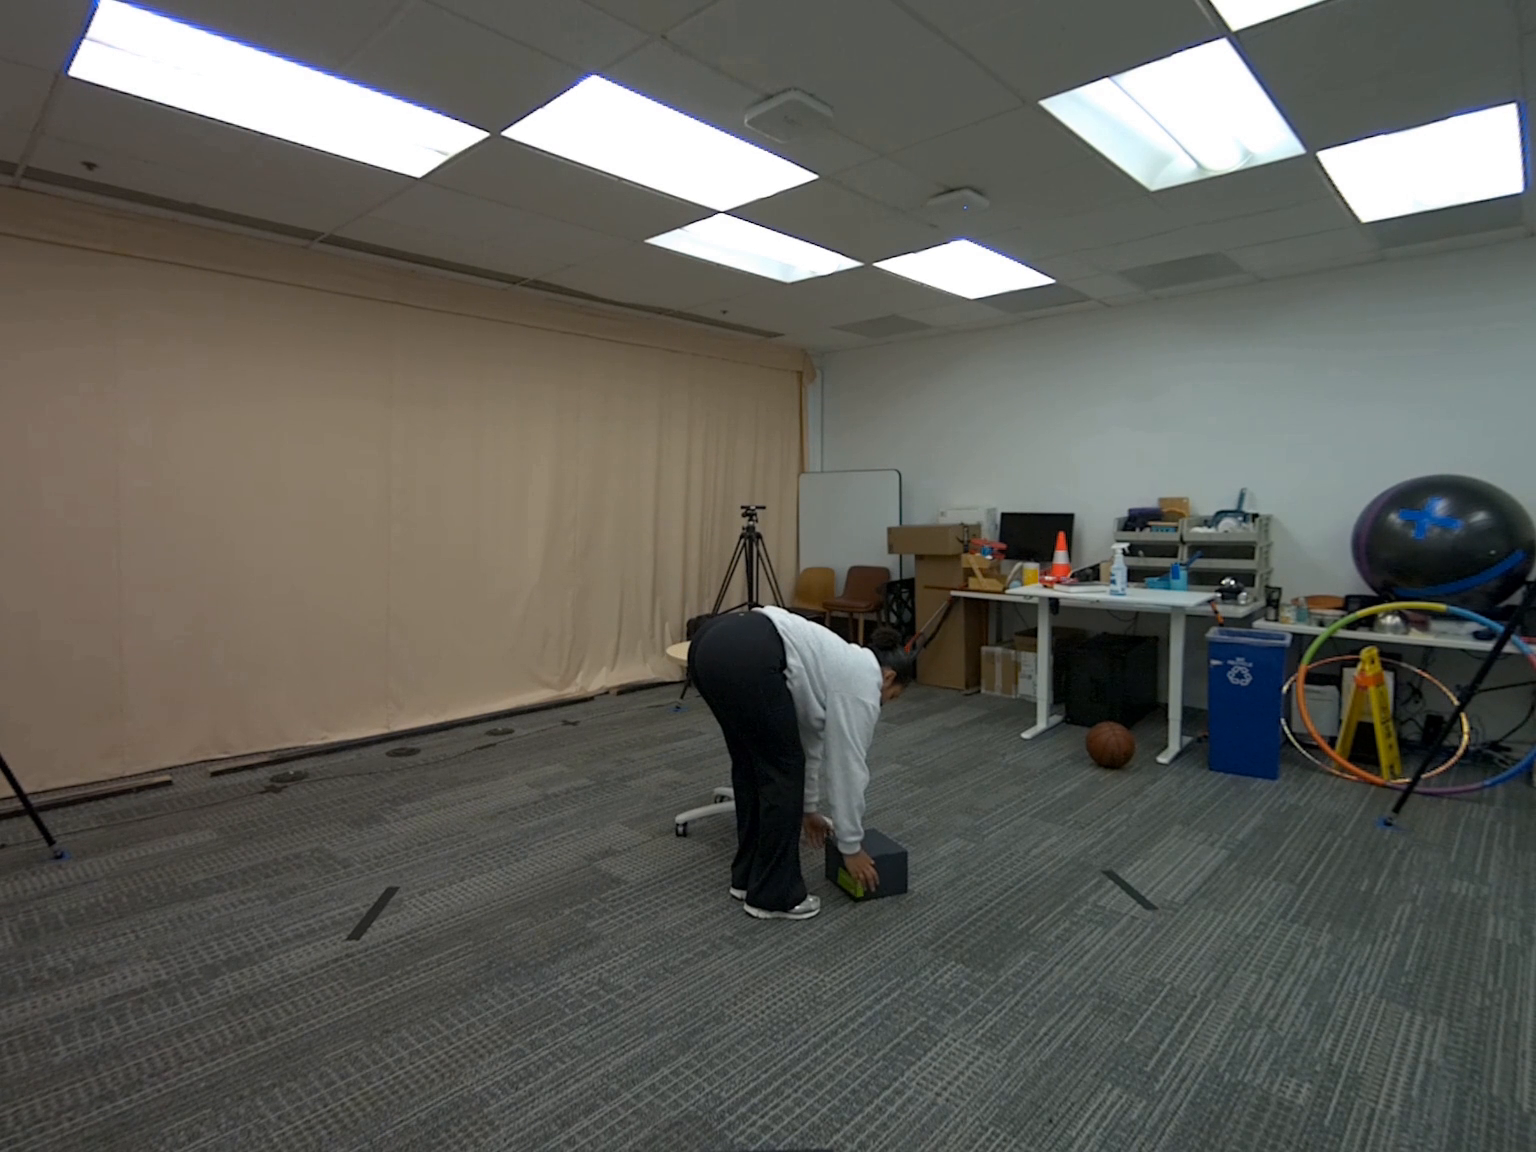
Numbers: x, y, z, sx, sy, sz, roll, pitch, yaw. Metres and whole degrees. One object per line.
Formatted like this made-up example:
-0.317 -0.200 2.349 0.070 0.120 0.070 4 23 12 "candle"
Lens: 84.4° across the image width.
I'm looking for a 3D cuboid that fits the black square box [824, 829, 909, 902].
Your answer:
0.362 1.052 3.080 0.212 0.155 0.233 -2 5 -23 "black square box"
